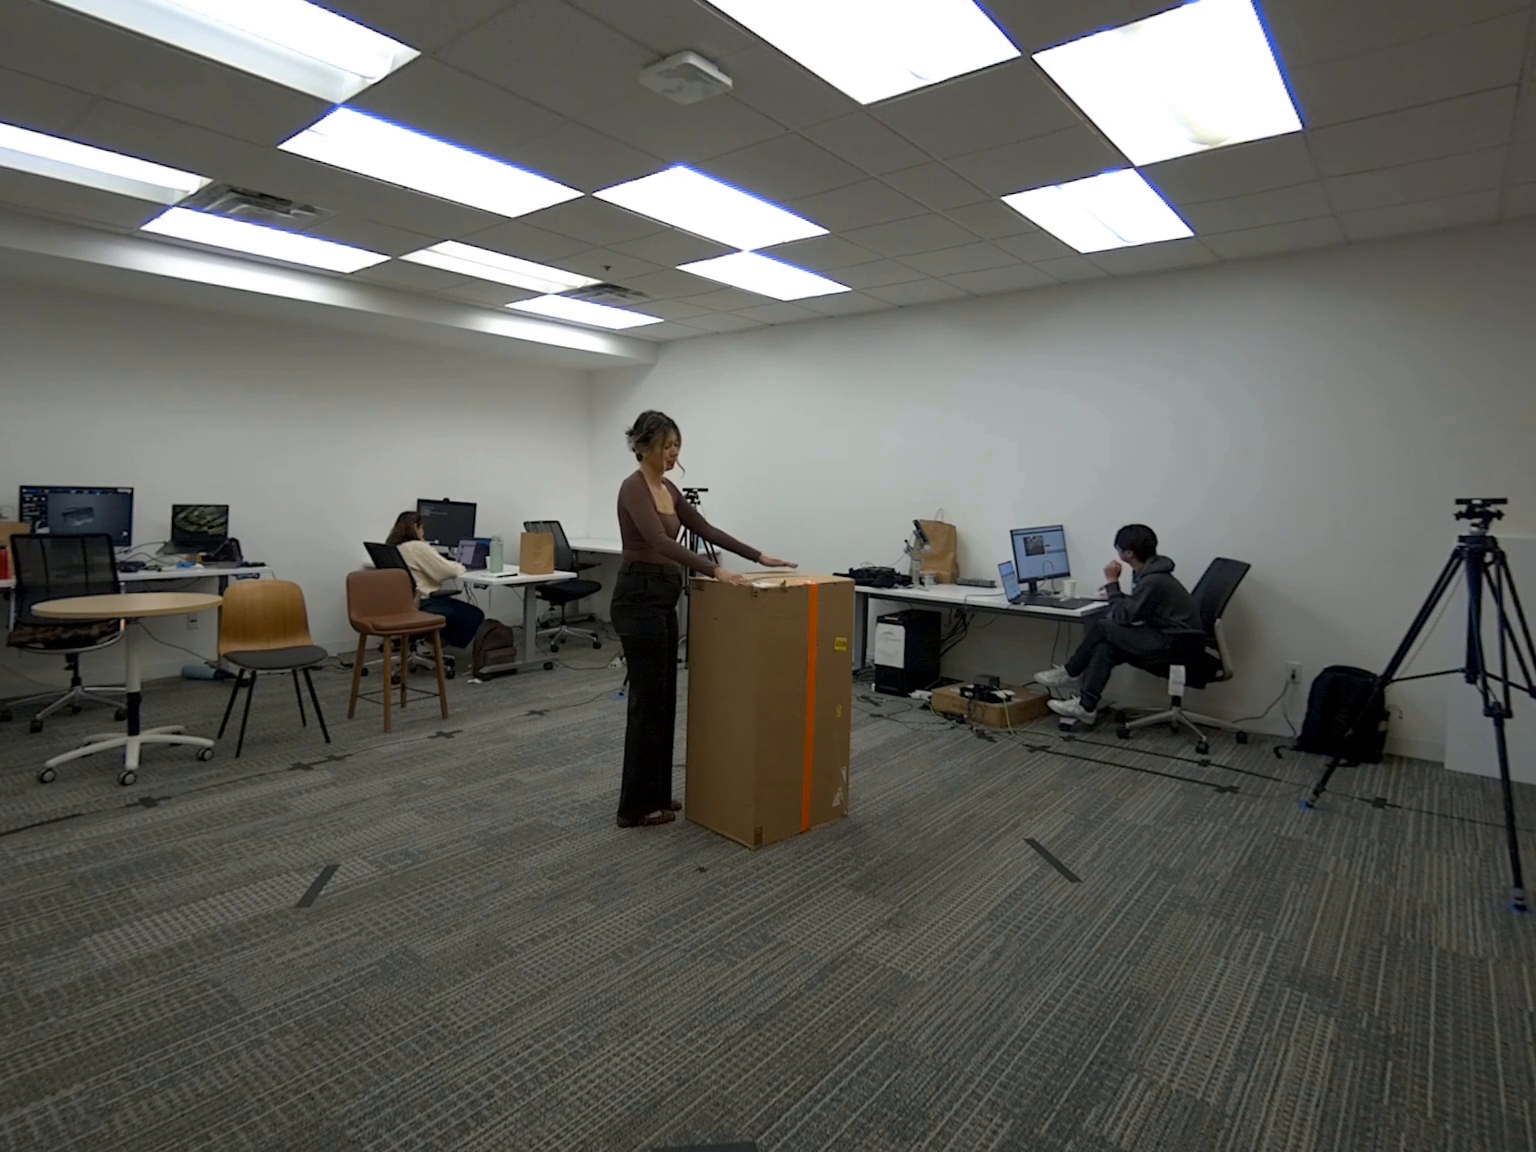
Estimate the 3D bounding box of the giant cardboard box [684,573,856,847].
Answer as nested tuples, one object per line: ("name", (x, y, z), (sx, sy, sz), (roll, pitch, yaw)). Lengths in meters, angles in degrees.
("giant cardboard box", (0.002, 0.515, 3.602), (0.566, 1.023, 0.462), (-2, 5, -43))
